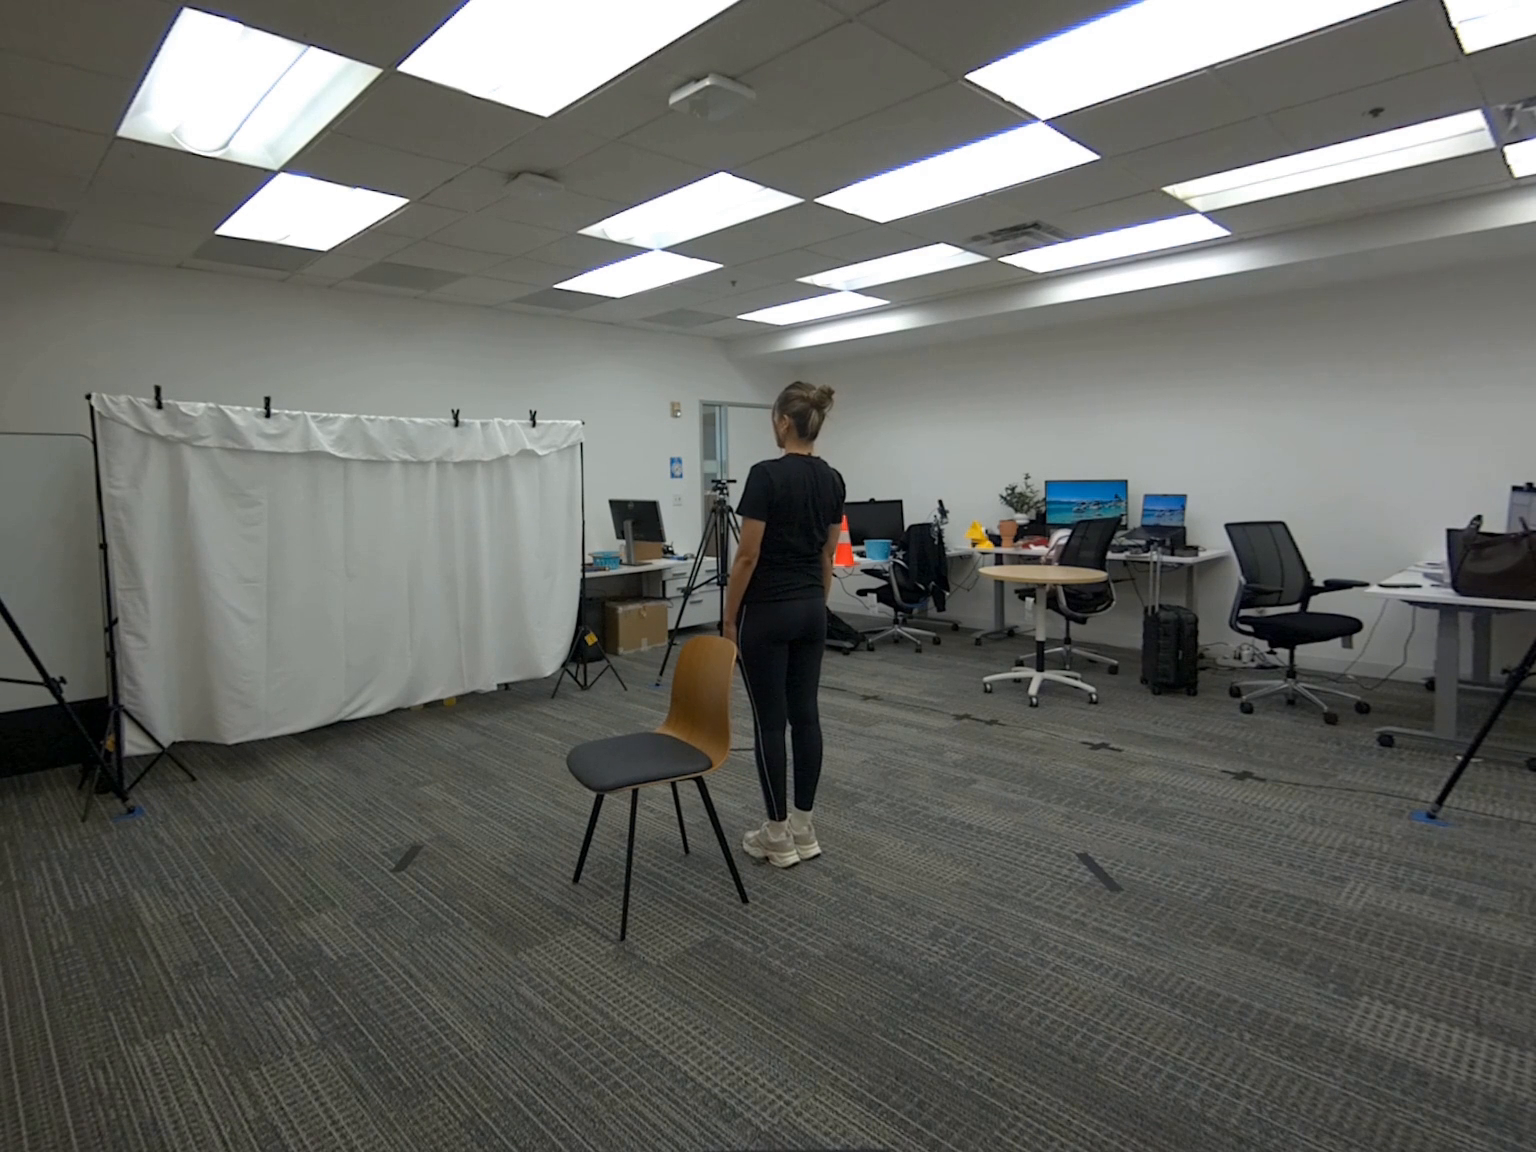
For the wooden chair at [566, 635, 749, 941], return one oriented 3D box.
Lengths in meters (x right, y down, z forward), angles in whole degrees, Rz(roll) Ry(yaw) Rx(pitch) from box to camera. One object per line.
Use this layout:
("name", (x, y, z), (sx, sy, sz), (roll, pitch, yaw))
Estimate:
("wooden chair", (-0.387, 0.656, 2.863), (0.510, 0.875, 0.491), (1, 3, -30))
